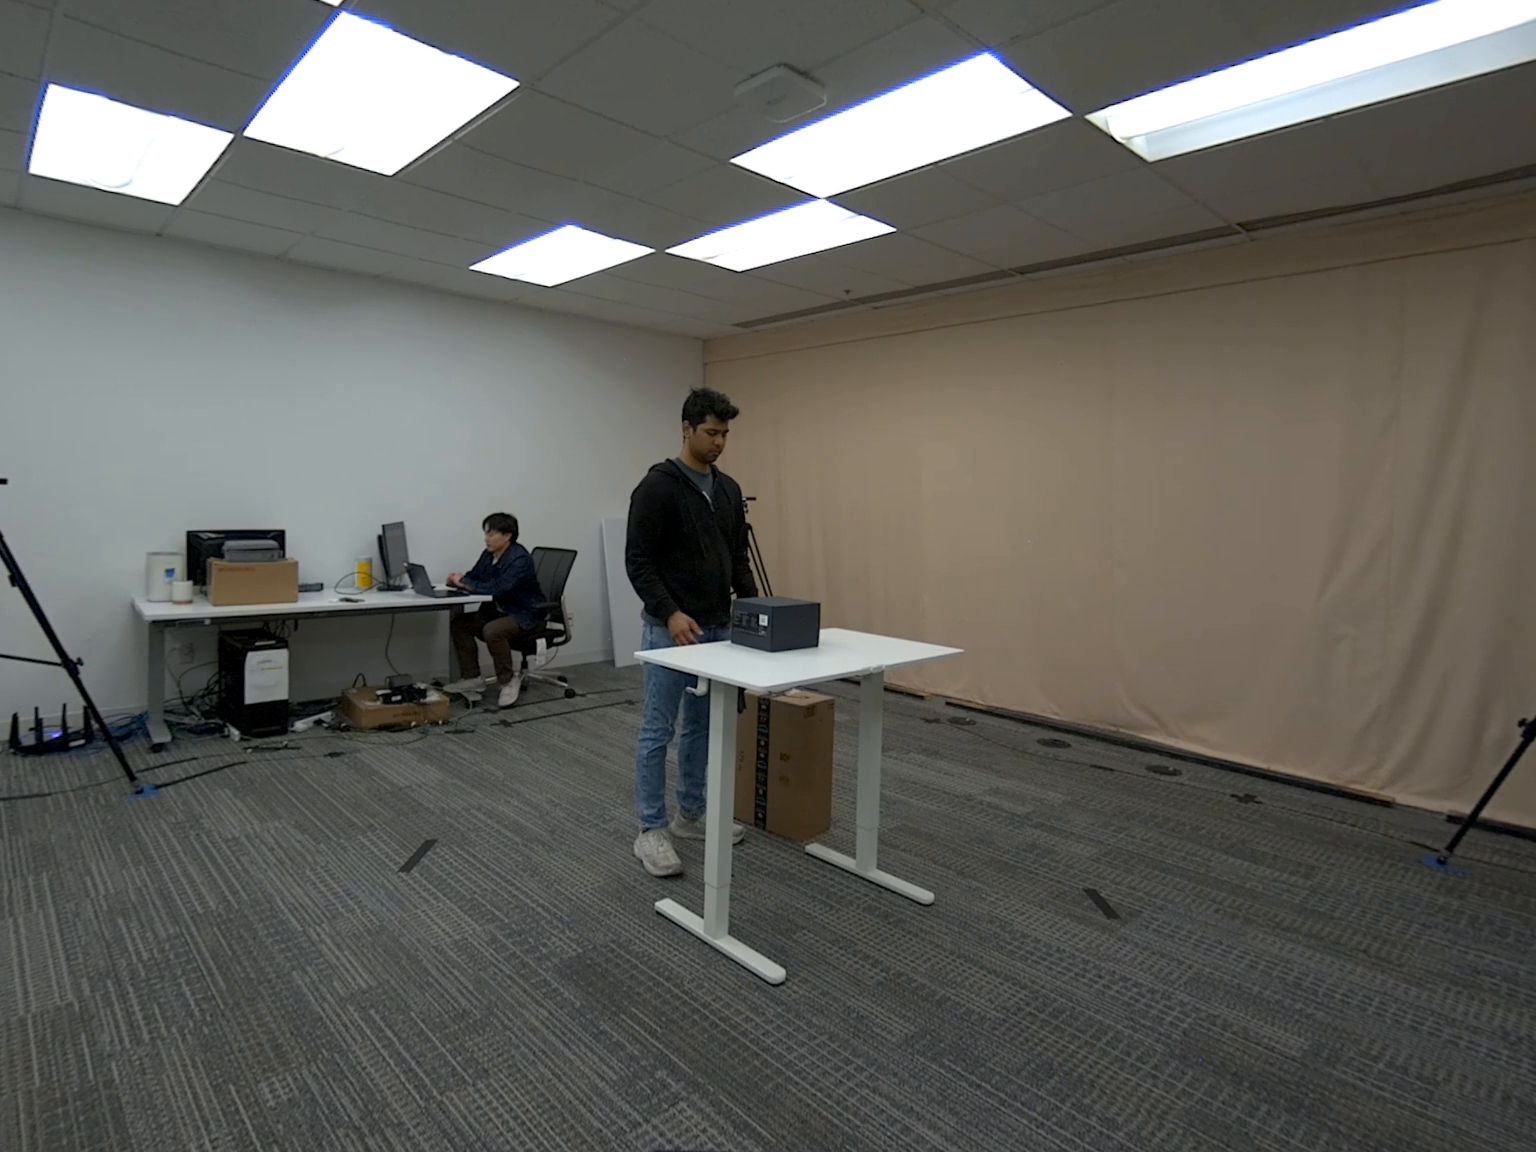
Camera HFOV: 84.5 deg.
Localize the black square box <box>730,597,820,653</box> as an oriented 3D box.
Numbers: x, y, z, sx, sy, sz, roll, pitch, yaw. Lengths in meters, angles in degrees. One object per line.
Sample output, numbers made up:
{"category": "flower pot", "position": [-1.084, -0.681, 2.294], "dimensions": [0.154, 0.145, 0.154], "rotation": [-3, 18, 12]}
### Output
{"category": "black square box", "position": [0.022, 0.164, 2.938], "dimensions": [0.223, 0.155, 0.222], "rotation": [-2, 6, -42]}
